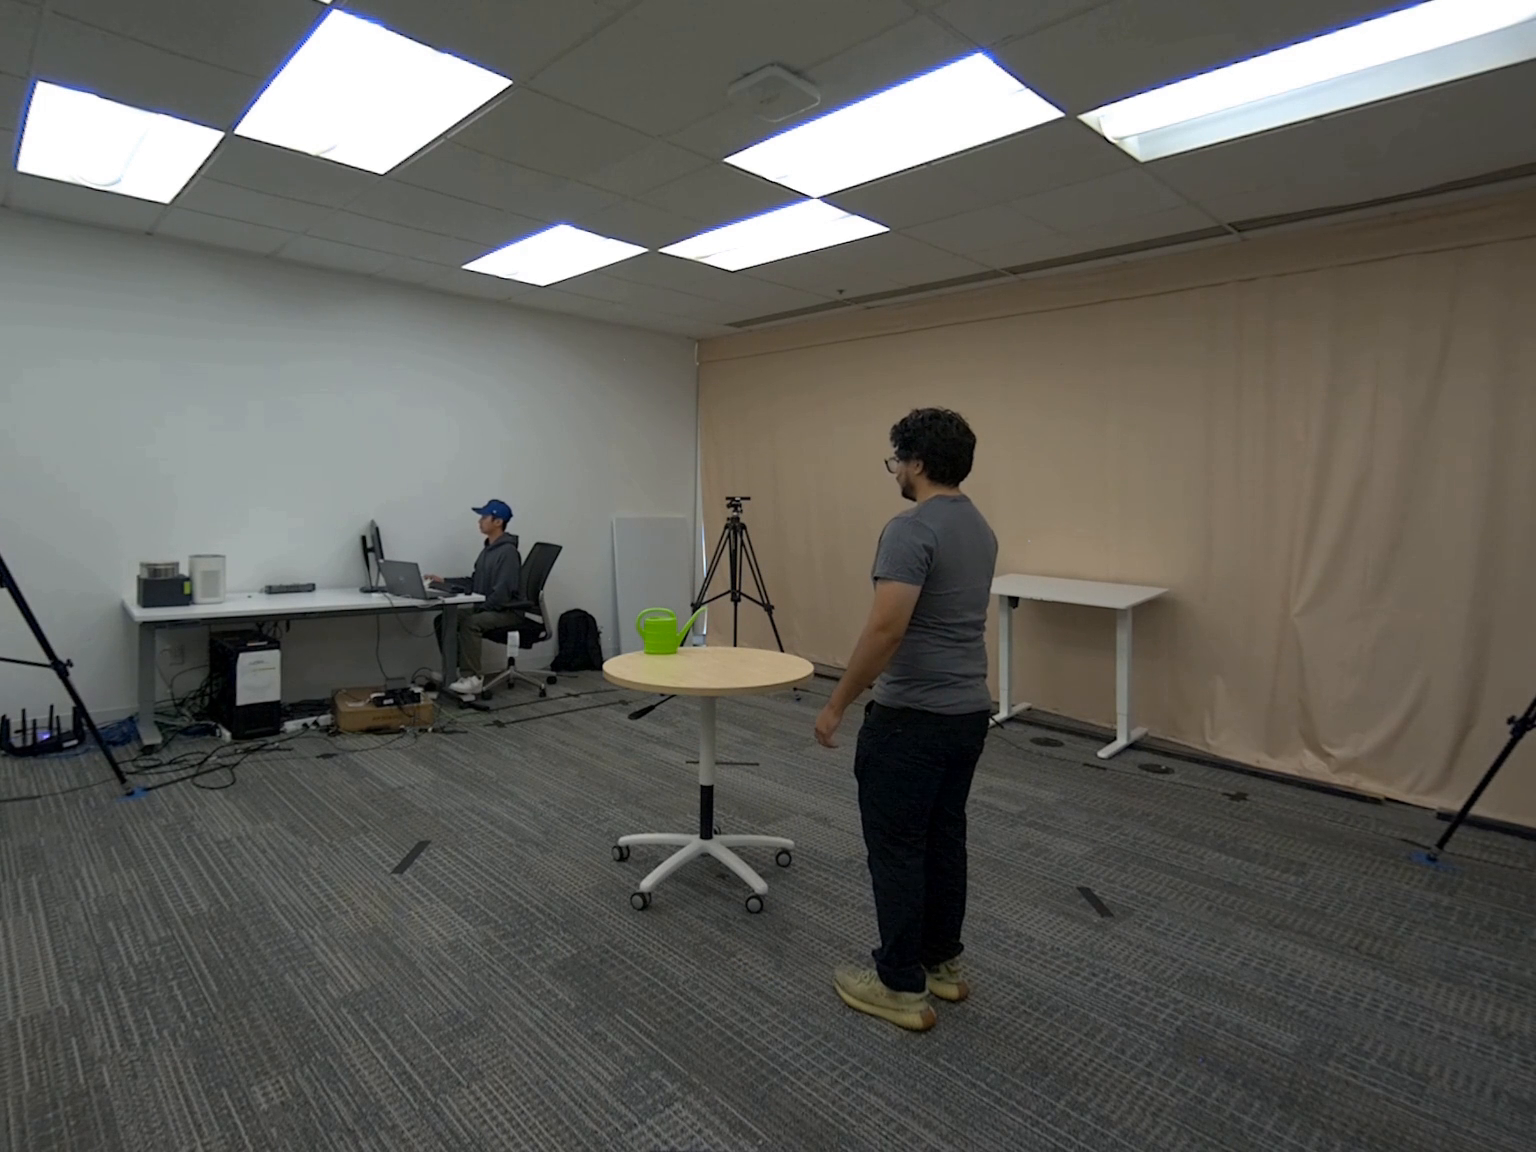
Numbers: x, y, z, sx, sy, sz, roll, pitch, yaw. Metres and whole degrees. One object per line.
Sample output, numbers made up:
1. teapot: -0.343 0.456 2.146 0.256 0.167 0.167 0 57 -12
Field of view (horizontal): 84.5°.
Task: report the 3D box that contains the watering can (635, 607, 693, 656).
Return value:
1. watering can: -0.387 0.217 3.292 0.279 0.176 0.098 0 2 5
